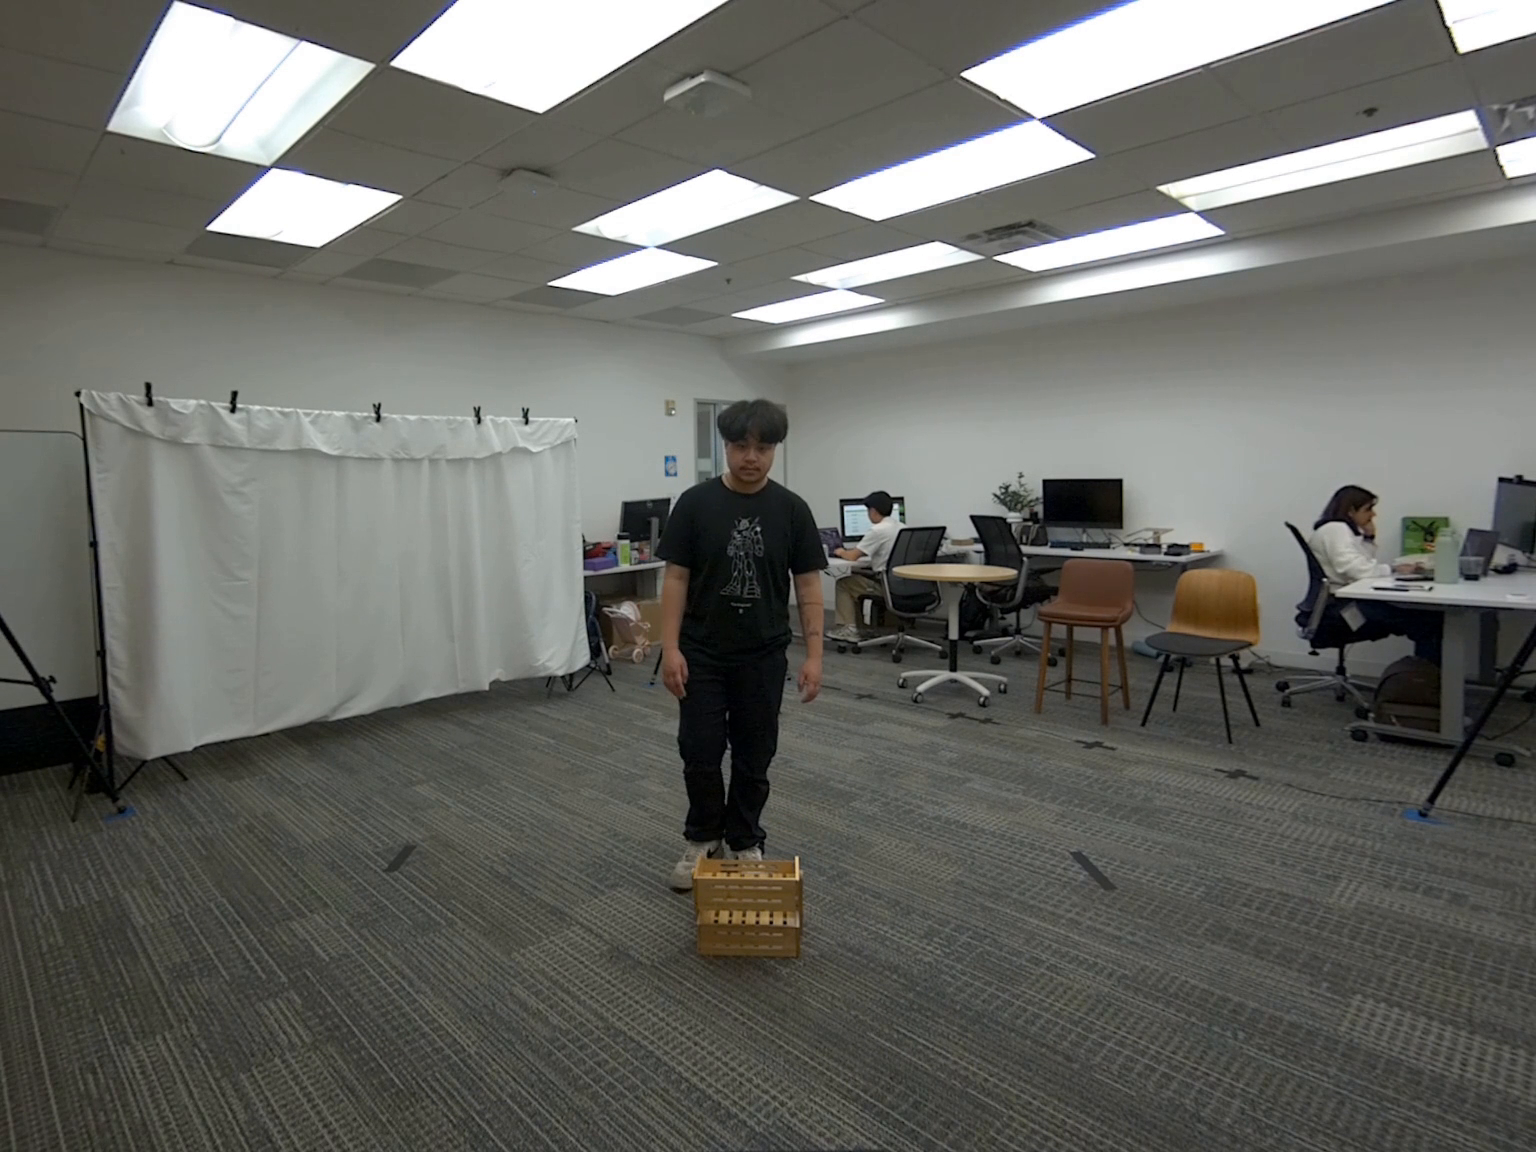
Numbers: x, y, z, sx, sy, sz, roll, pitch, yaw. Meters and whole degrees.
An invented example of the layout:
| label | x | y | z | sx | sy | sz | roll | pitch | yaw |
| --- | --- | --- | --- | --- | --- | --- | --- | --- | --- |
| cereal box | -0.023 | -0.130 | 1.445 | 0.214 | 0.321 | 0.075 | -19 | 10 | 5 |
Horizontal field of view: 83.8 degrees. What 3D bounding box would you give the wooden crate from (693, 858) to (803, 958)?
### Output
| label | x | y | z | sx | sy | sz | roll | pitch | yaw |
| --- | --- | --- | --- | --- | --- | --- | --- | --- | --- |
| wooden crate | -0.056 | 0.974 | 2.595 | 0.326 | 0.272 | 0.302 | -1 | 5 | 3 |
